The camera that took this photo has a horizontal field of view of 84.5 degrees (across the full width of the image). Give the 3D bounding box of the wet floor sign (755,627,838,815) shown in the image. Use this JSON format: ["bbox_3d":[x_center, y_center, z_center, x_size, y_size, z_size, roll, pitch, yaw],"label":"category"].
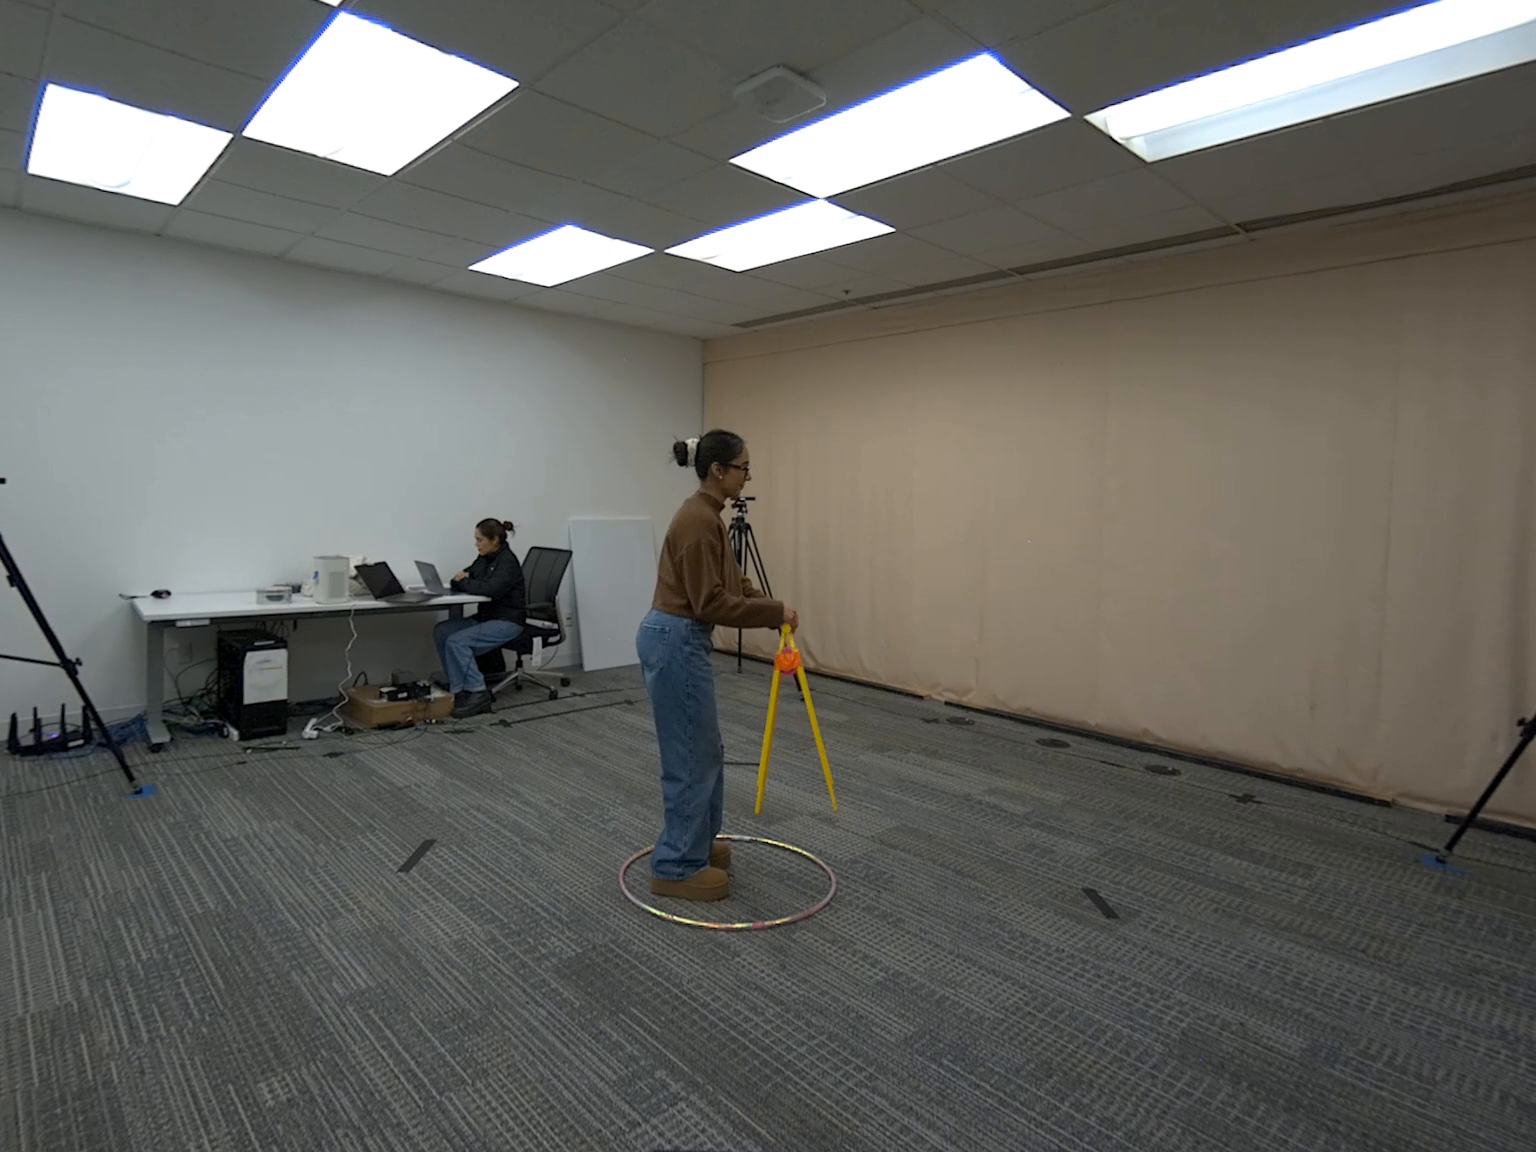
[{"bbox_3d":[0.075,0.484,2.962,0.291,0.648,0.280,-4,-4,4],"label":"wet floor sign"}]
